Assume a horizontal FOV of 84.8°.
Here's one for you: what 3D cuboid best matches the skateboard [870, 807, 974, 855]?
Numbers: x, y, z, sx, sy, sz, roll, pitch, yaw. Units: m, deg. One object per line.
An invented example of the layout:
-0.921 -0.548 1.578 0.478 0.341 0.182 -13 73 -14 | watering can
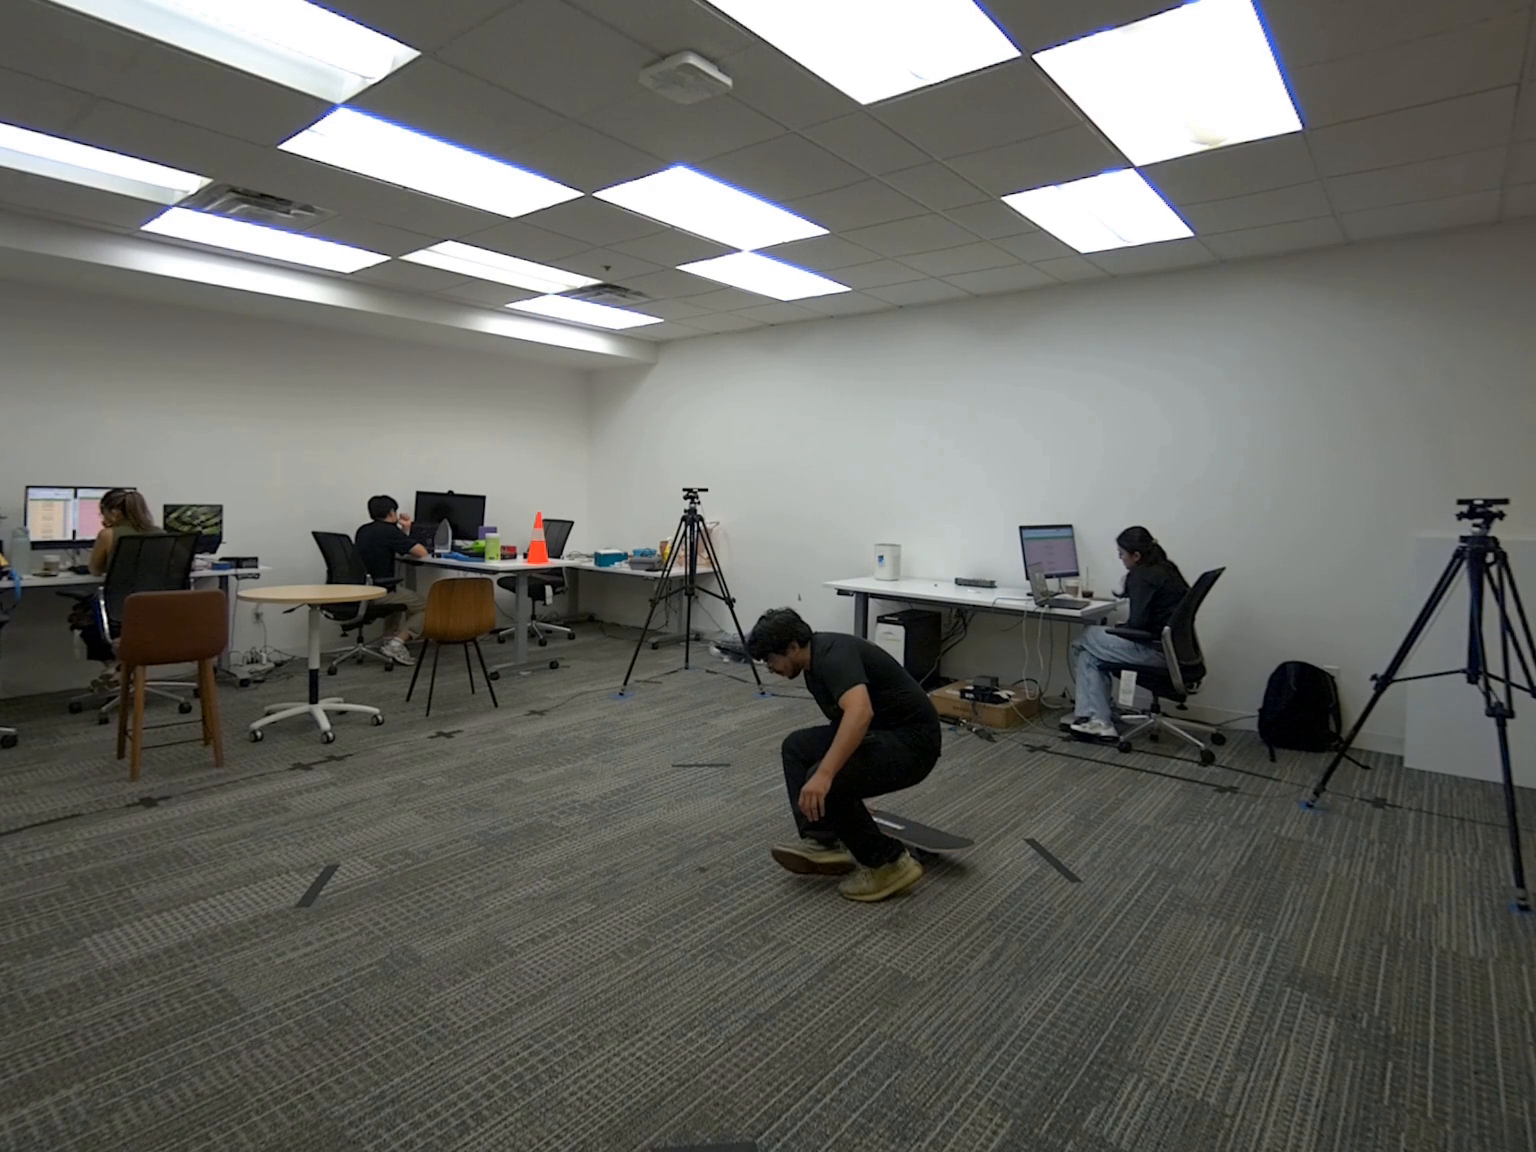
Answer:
0.441 1.000 3.386 0.813 0.110 0.187 7 6 42 | skateboard
